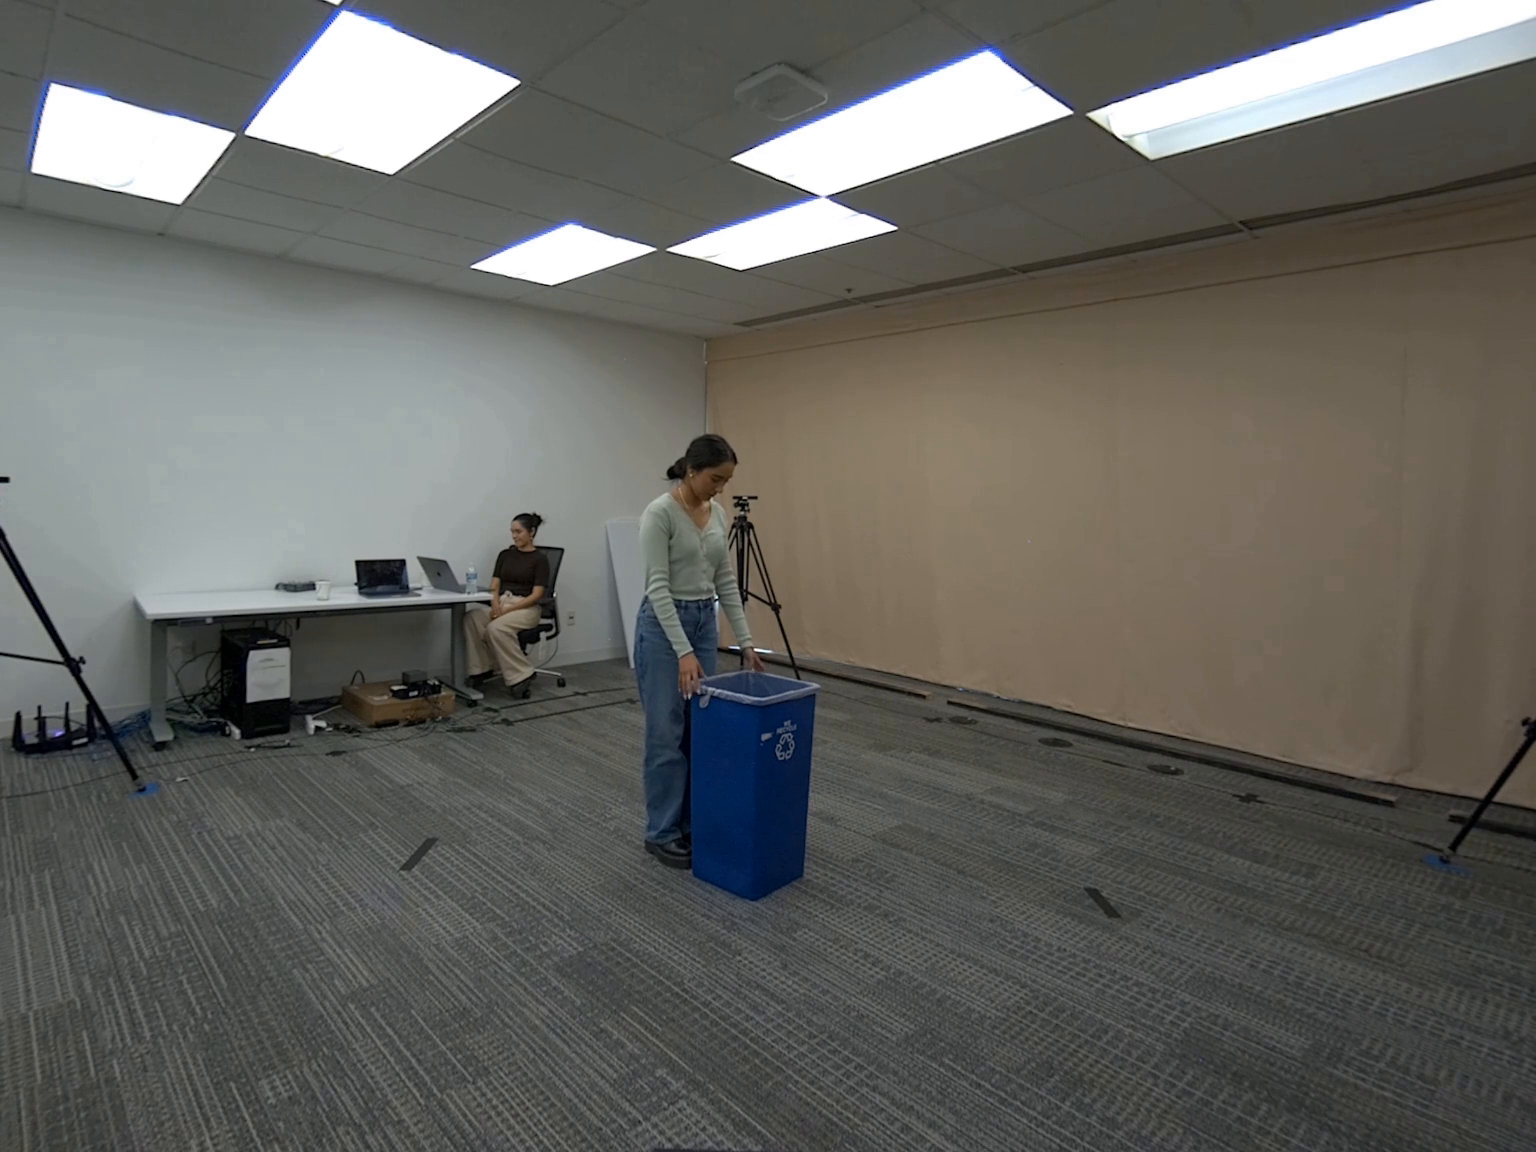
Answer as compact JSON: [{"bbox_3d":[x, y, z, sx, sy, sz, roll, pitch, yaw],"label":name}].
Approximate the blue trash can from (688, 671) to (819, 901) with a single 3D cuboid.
[{"bbox_3d":[-0.066,0.747,3.088,0.387,0.712,0.366,4,5,40],"label":"blue trash can"}]
